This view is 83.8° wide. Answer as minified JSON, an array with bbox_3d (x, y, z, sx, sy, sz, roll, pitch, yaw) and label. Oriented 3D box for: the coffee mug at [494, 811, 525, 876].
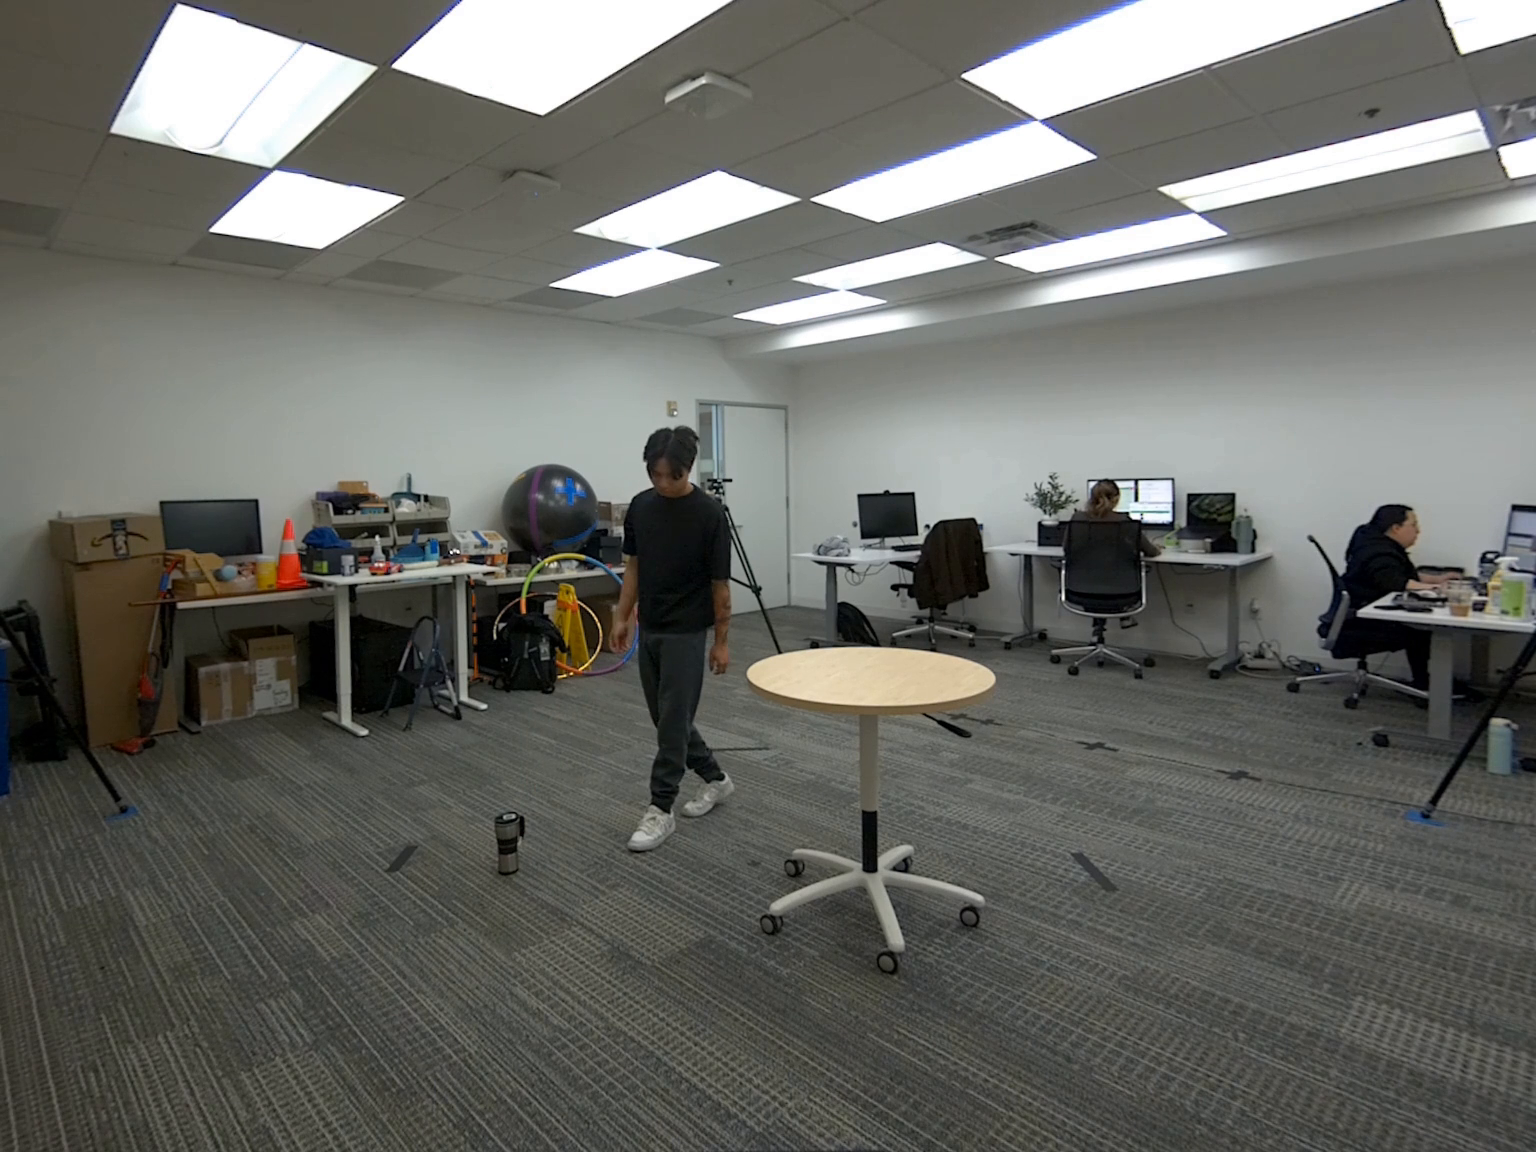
[{"bbox_3d":[-0.917,0.964,3.090,0.119,0.202,0.090,-9,4,-39],"label":"coffee mug"}]
